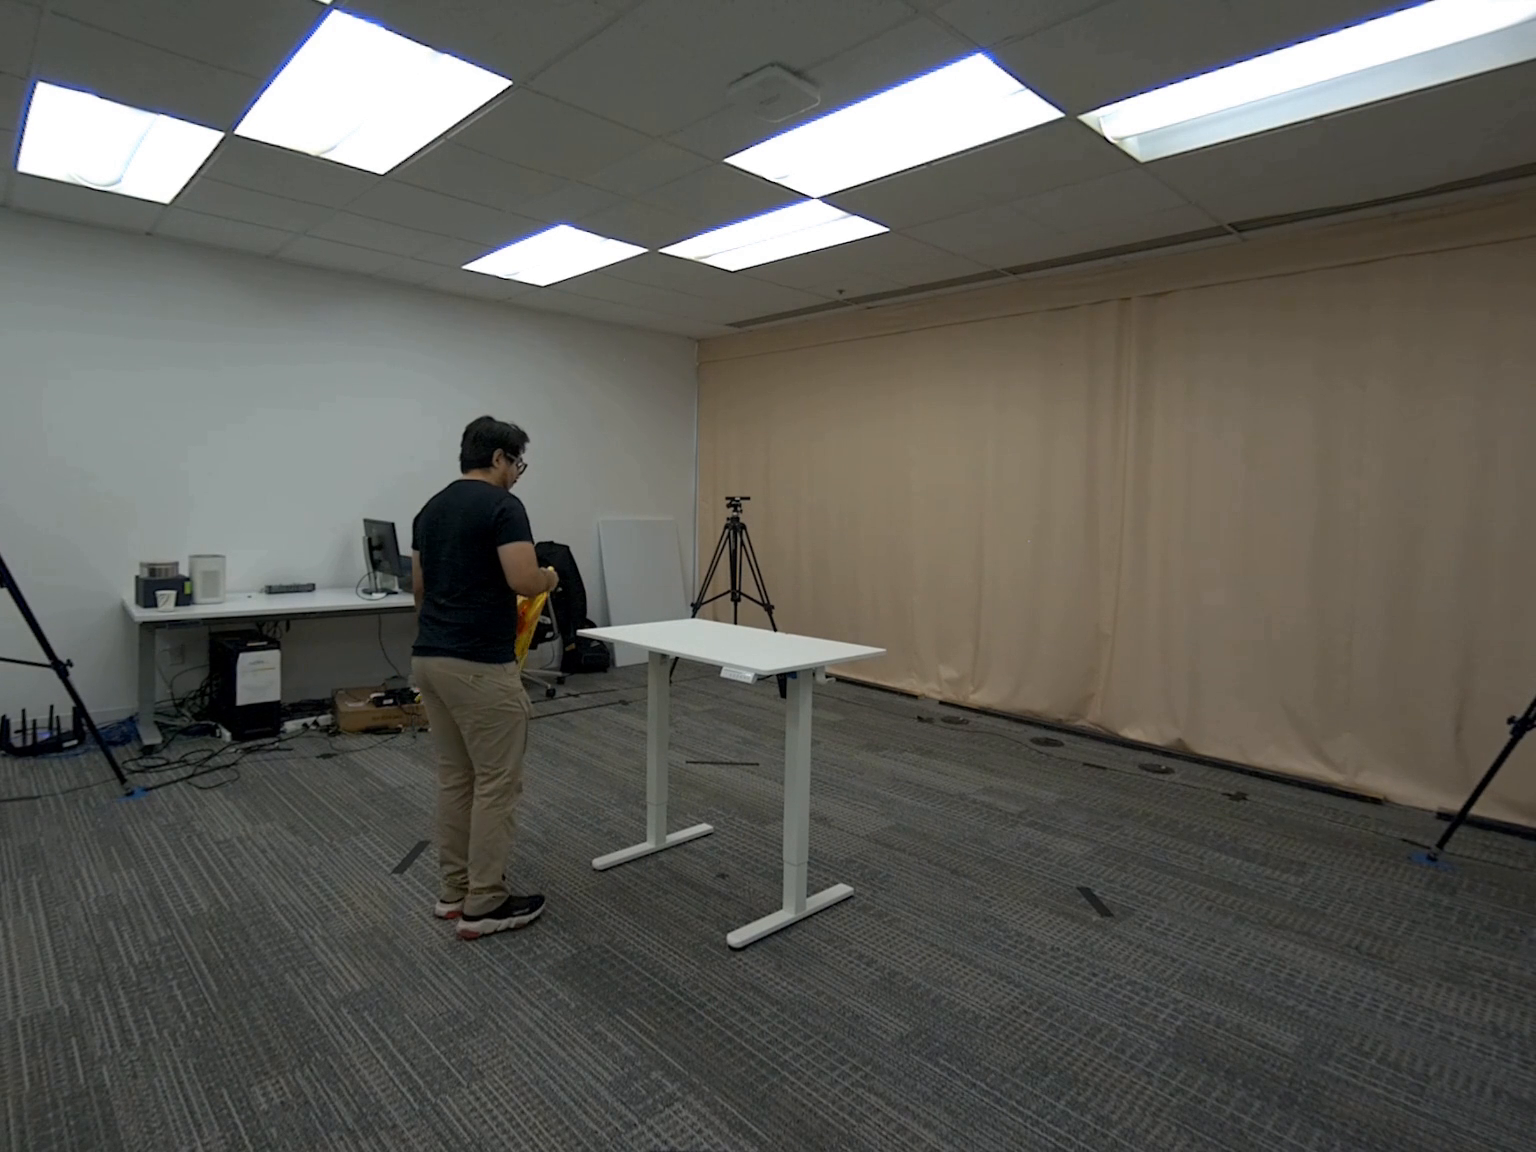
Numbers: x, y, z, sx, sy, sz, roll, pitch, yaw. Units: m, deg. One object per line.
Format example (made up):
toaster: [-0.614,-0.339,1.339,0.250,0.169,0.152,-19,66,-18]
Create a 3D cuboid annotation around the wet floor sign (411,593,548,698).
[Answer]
wet floor sign: [-0.972,0.249,3.053,0.287,0.645,0.286,35,22,-10]
